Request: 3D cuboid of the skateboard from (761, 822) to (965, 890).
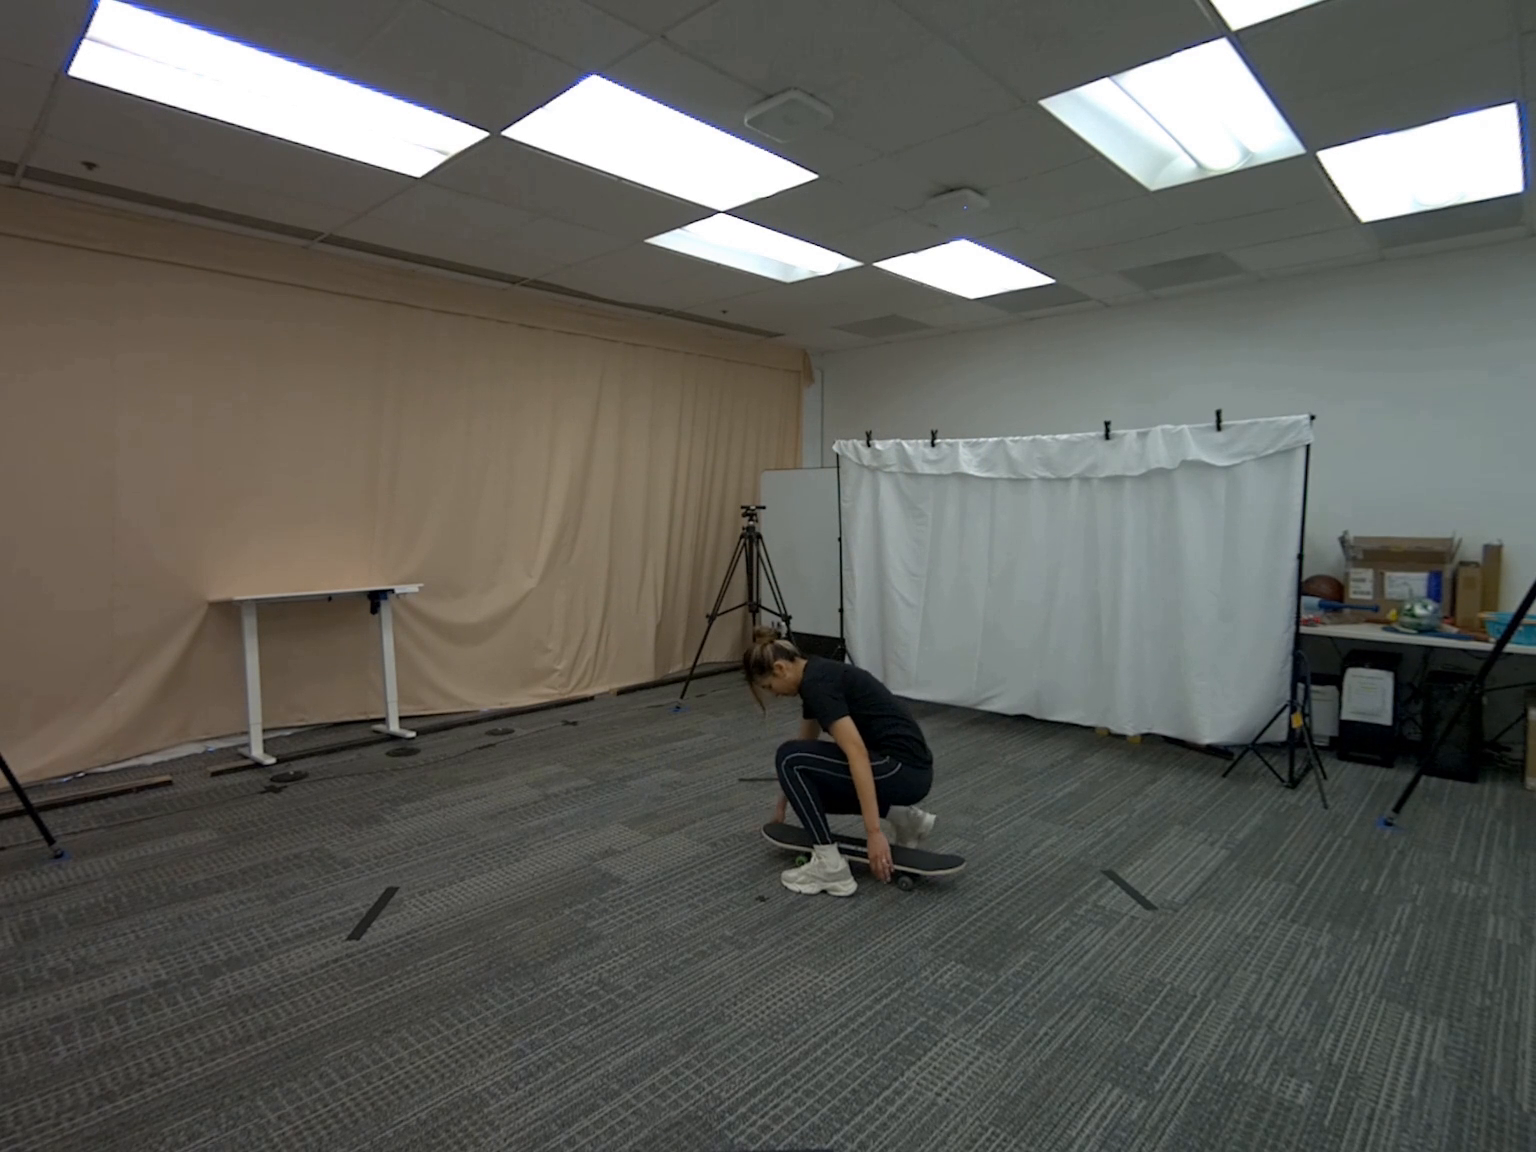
[{"bbox_3d":[0.349,1.062,3.203,0.806,0.110,0.189,2,4,26],"label":"skateboard"}]
